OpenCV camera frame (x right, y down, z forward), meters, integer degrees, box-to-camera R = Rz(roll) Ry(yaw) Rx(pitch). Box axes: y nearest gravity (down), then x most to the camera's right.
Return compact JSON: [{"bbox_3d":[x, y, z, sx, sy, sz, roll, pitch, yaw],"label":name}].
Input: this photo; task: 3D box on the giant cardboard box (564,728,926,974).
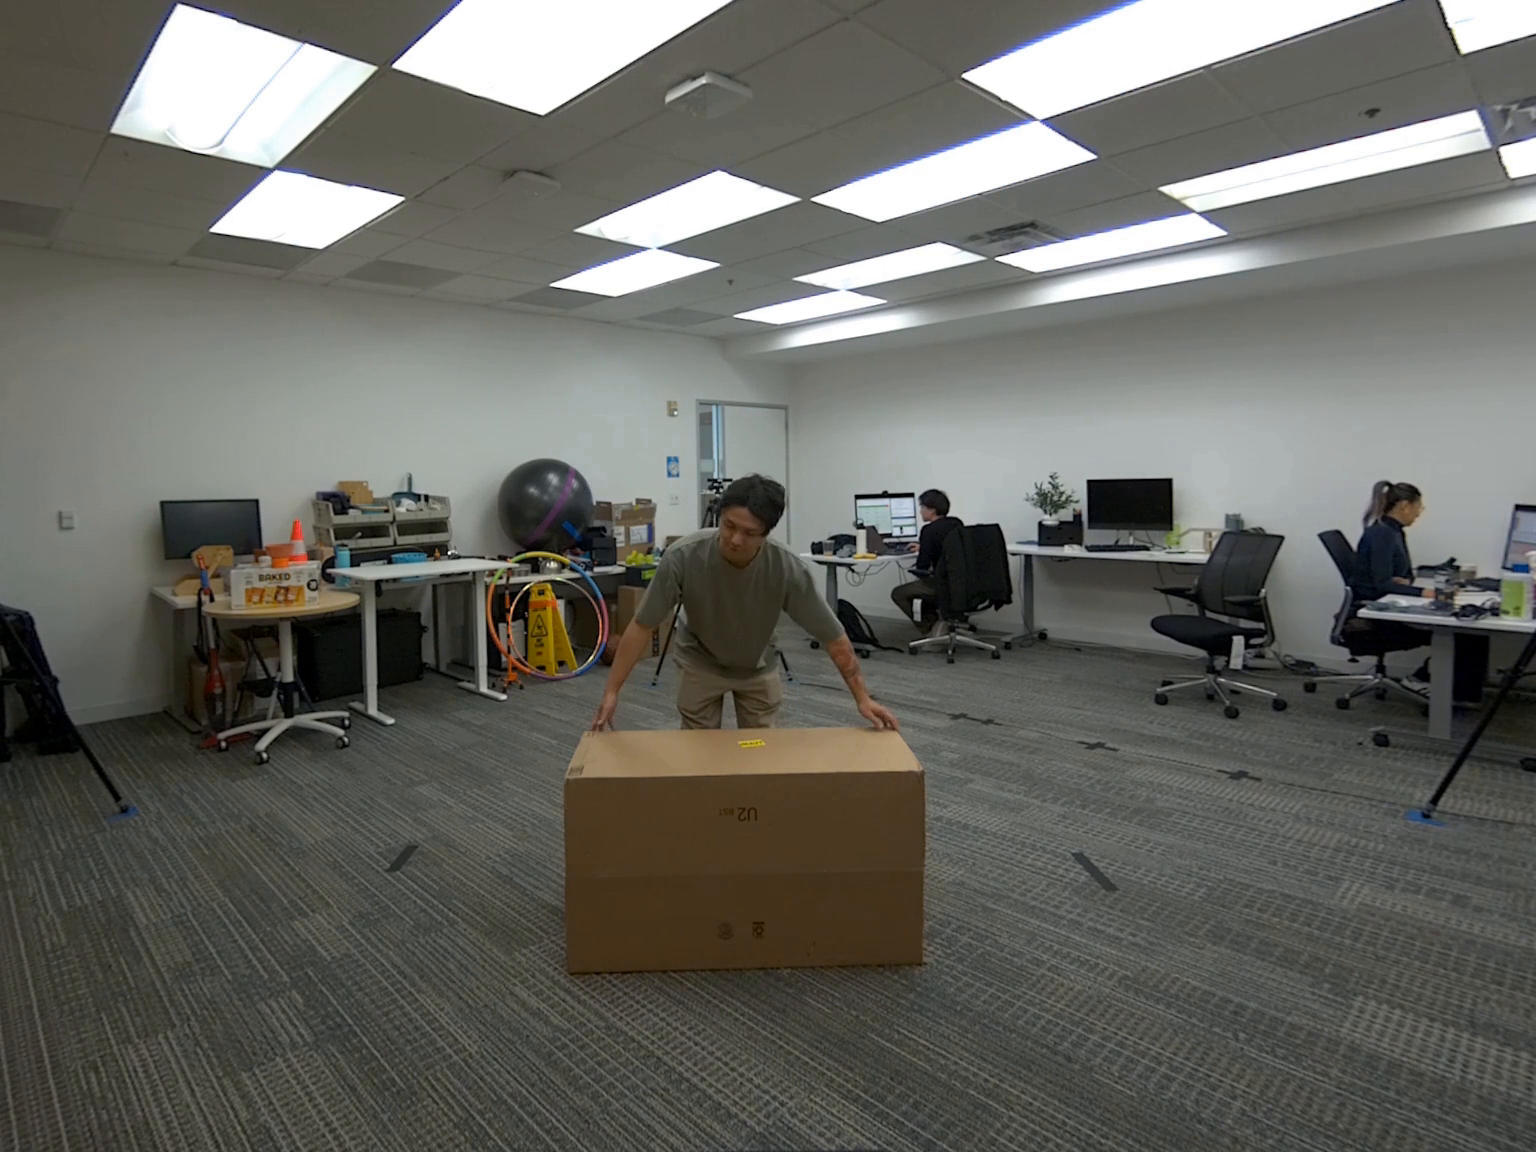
[{"bbox_3d":[-0.078,0.808,2.622,1.025,0.575,0.428,-1,5,-1],"label":"giant cardboard box"}]
